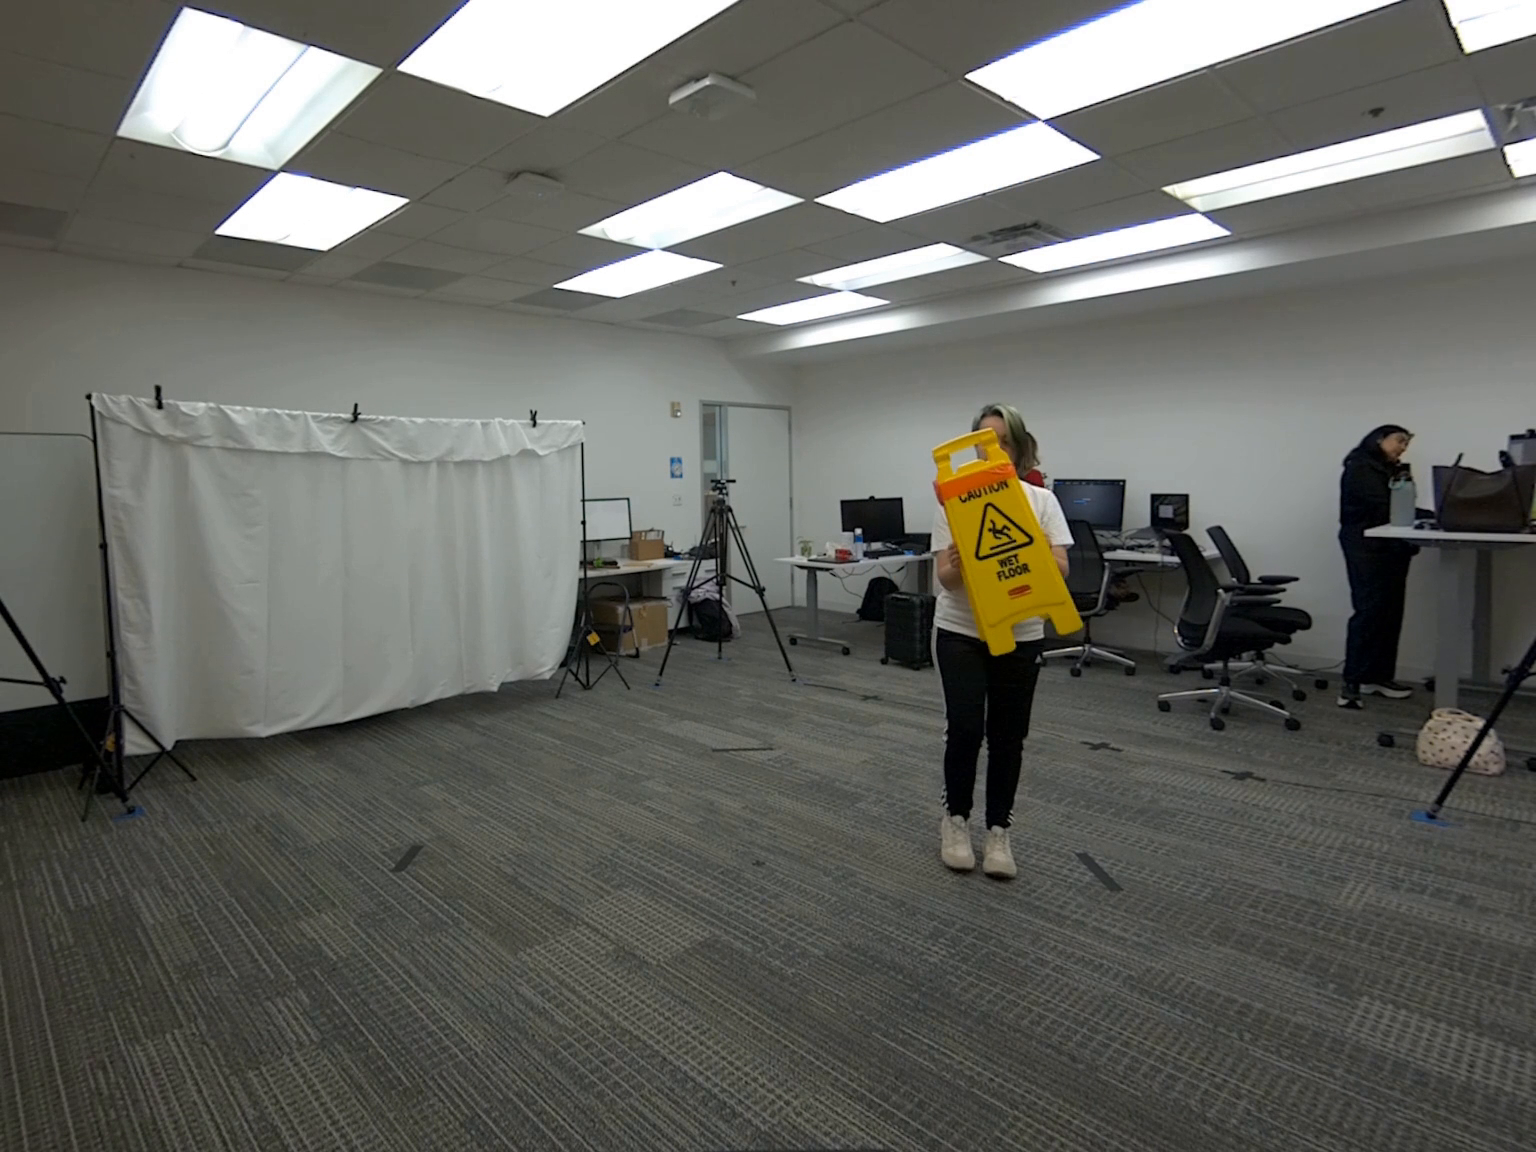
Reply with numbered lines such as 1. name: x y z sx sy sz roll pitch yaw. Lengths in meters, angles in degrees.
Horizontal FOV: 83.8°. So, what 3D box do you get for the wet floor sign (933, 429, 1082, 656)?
1. wet floor sign: 0.715 -0.124 2.640 0.283 0.645 0.289 -19 2 6
